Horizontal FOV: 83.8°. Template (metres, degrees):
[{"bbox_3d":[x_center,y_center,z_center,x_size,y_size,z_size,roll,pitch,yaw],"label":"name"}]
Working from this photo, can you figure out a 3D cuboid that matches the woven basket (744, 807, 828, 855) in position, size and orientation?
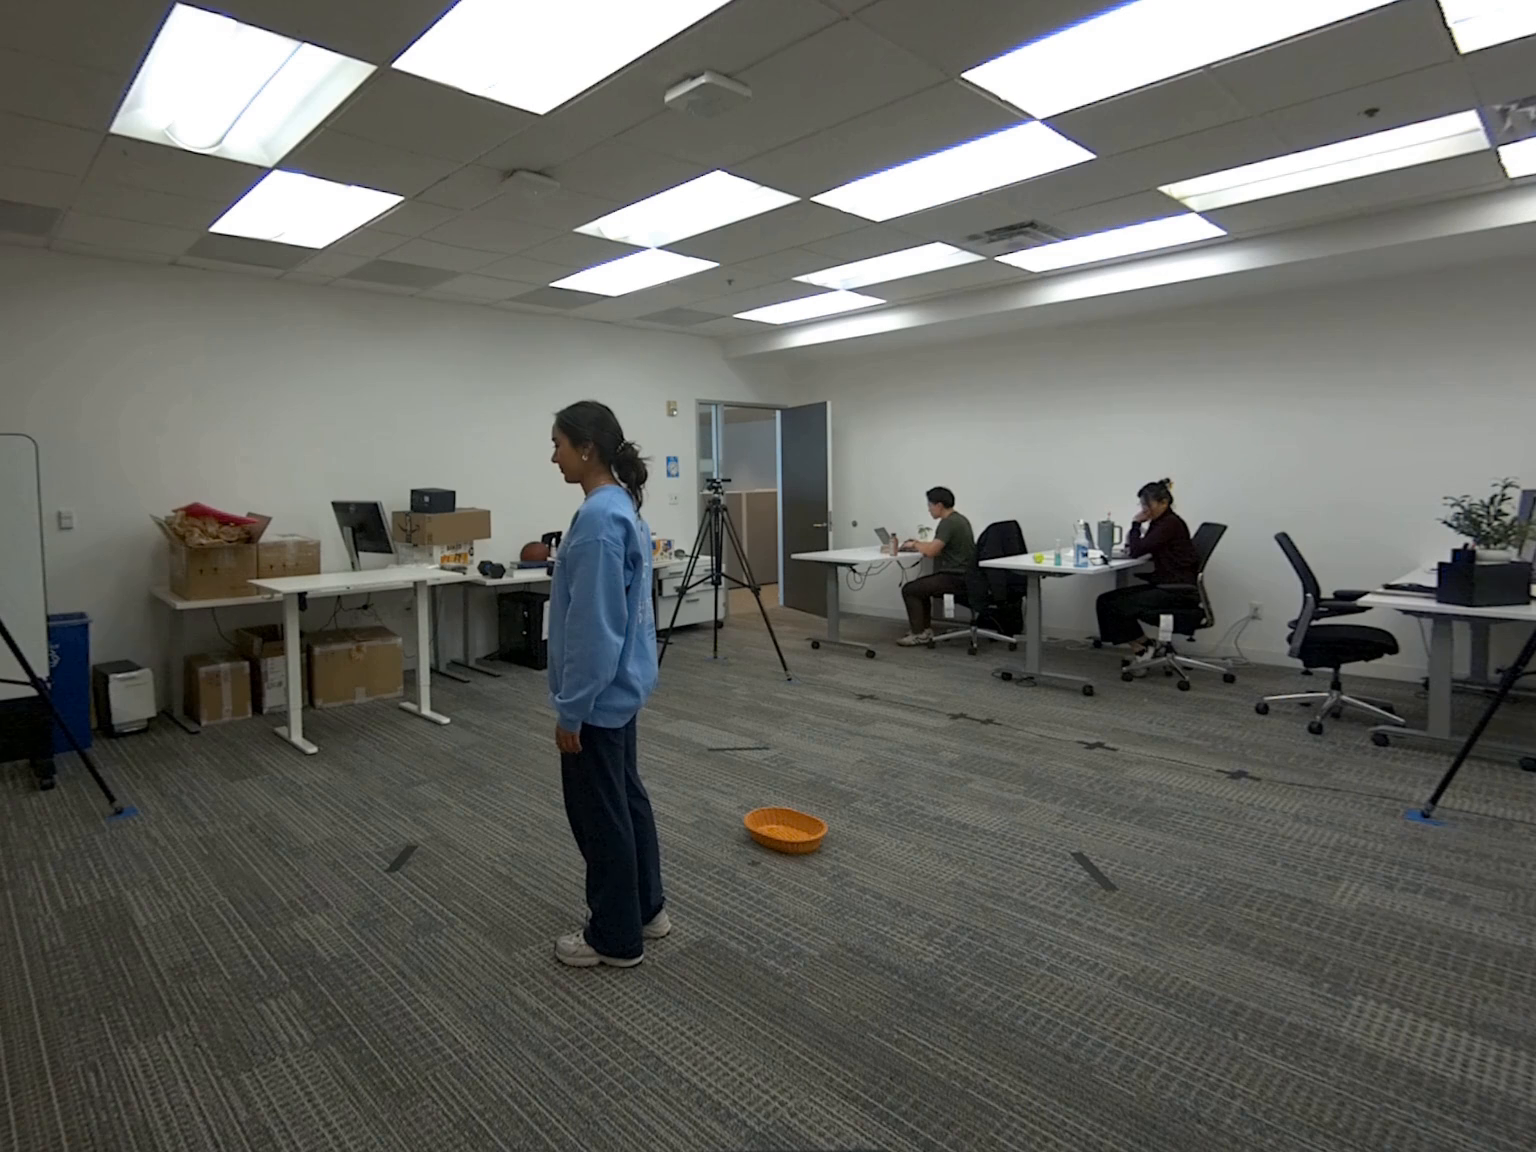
[{"bbox_3d":[0.065,0.983,3.288,0.361,0.073,0.246,6,10,44],"label":"woven basket"}]
